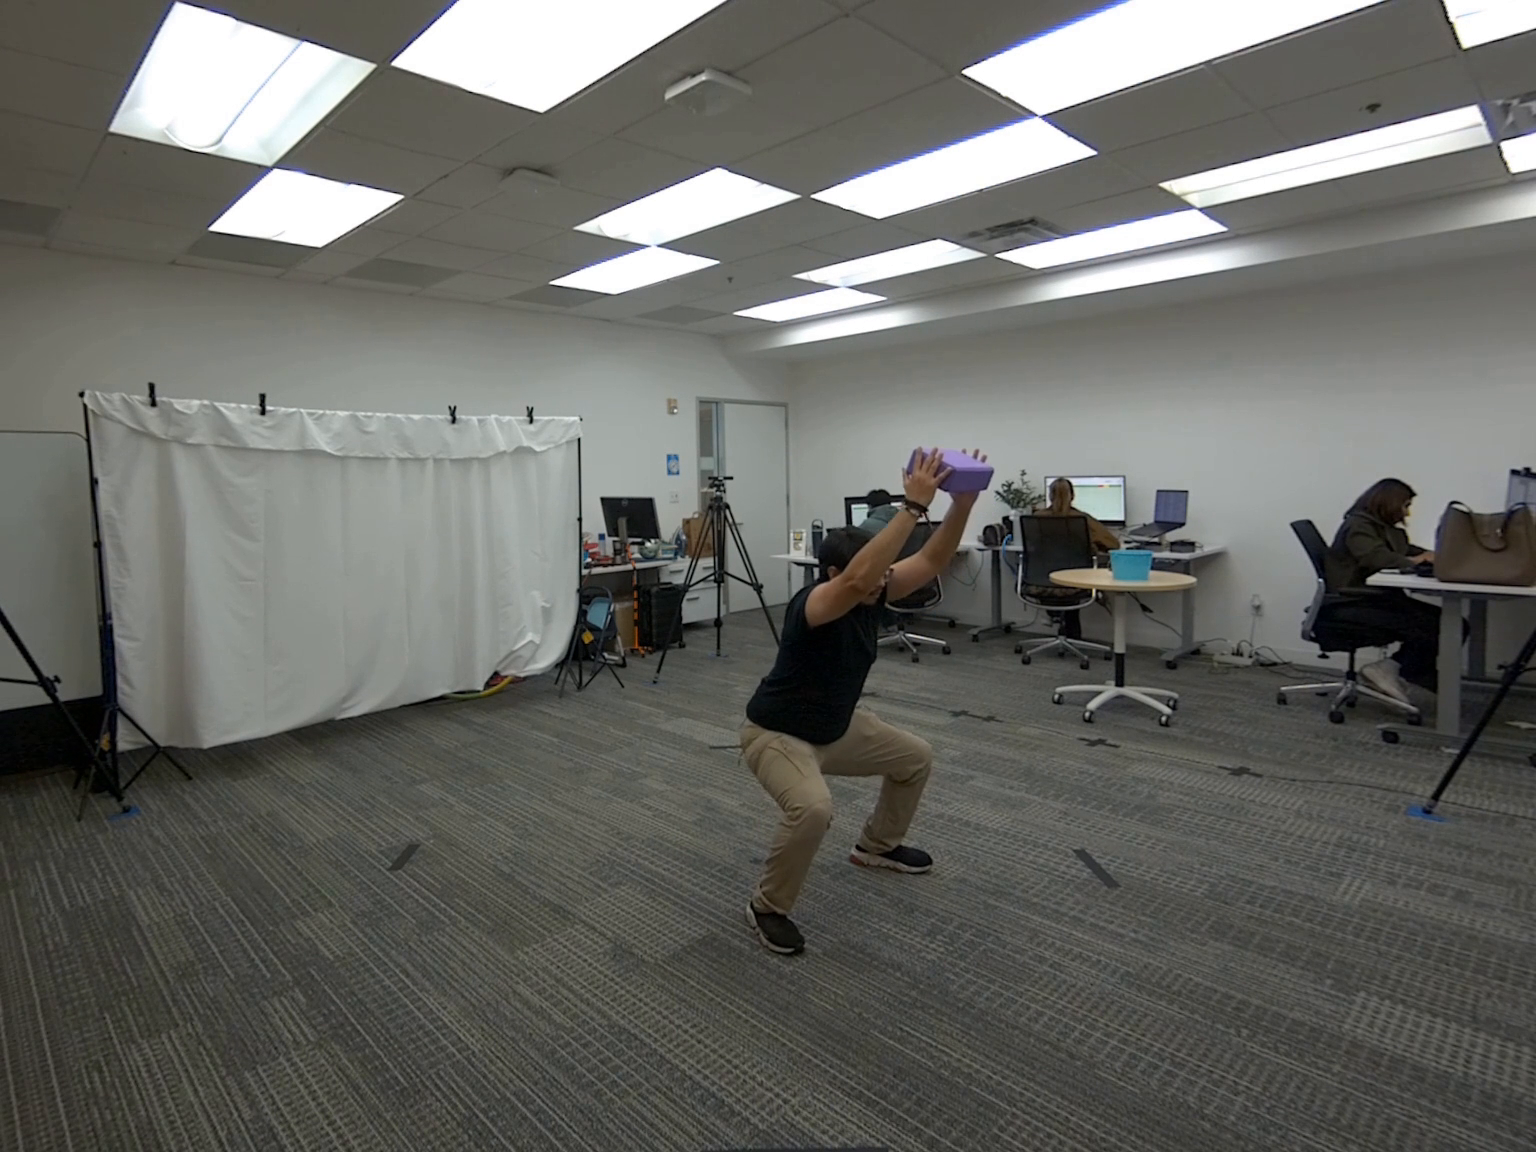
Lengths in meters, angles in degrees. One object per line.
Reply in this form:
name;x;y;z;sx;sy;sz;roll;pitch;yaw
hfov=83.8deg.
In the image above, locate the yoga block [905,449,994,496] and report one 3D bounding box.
yoga block;0.523;-0.306;2.421;0.223;0.075;0.155;-6;33;-46
